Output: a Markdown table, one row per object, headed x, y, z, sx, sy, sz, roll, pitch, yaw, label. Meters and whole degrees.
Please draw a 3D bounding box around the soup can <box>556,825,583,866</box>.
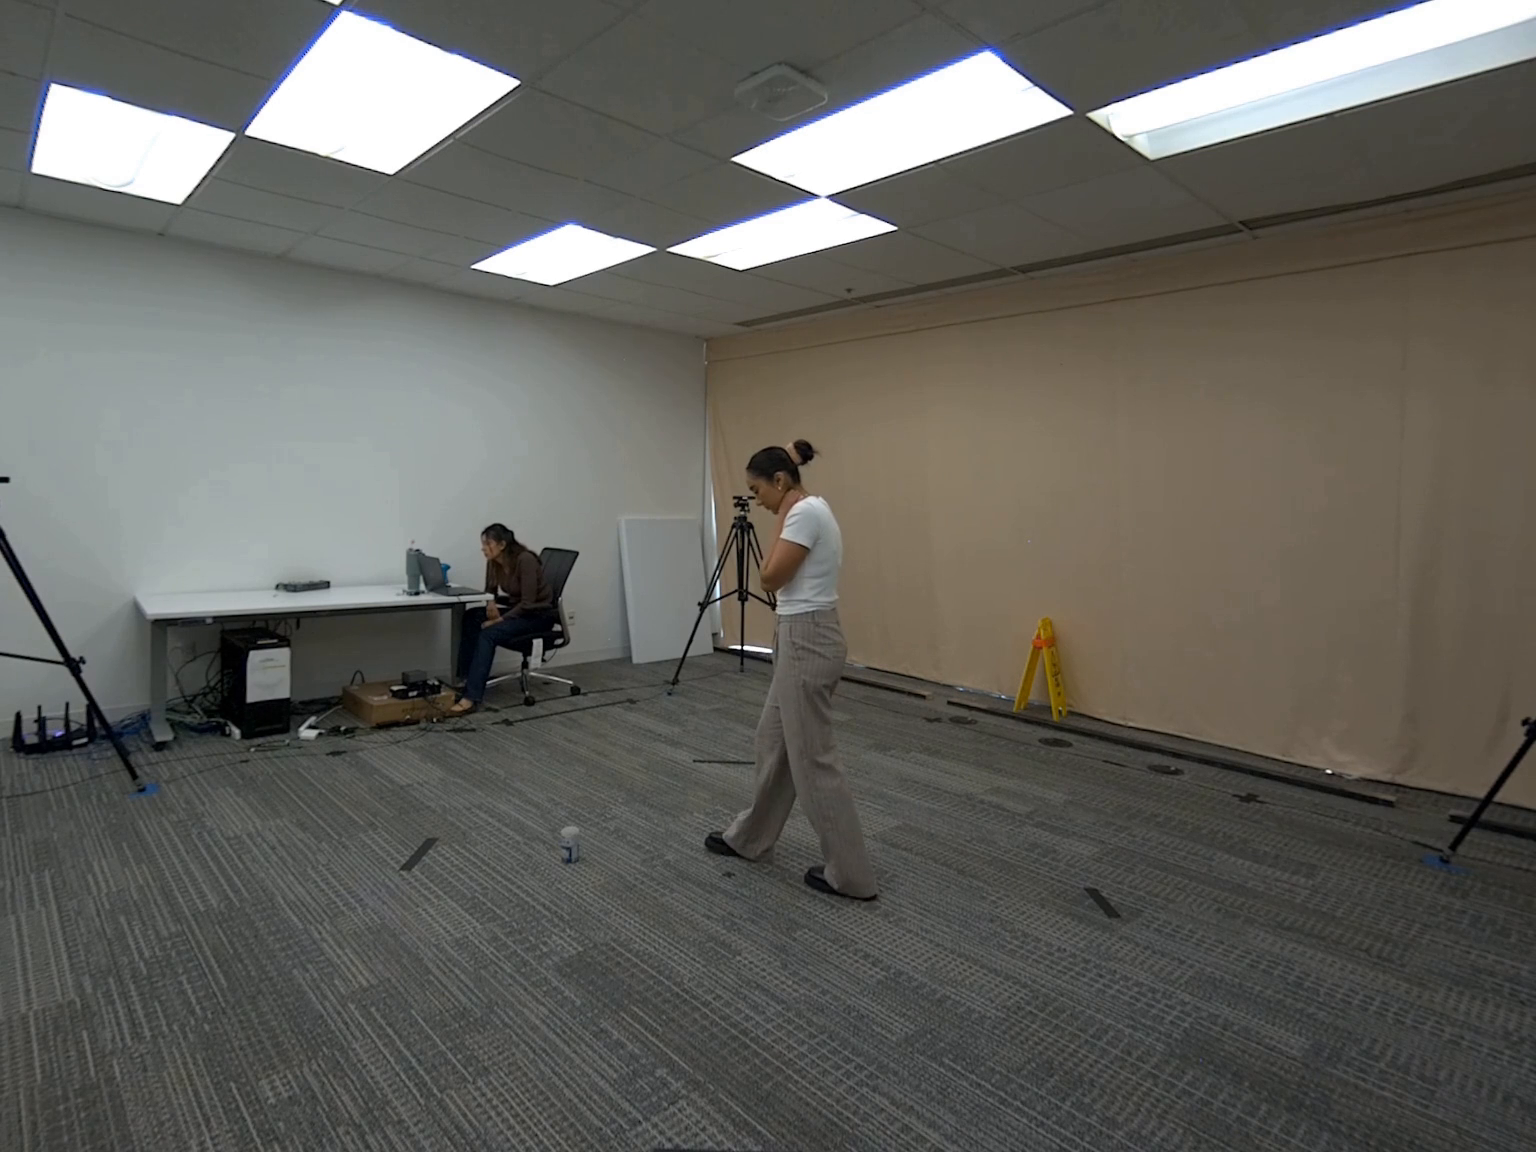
| x | y | z | sx | sy | sz | roll | pitch | yaw | label |
| --- | --- | --- | --- | --- | --- | --- | --- | --- | --- |
| -0.748 | 1.006 | 3.192 | 0.067 | 0.120 | 0.067 | -8 | 9 | 0 | soup can |
